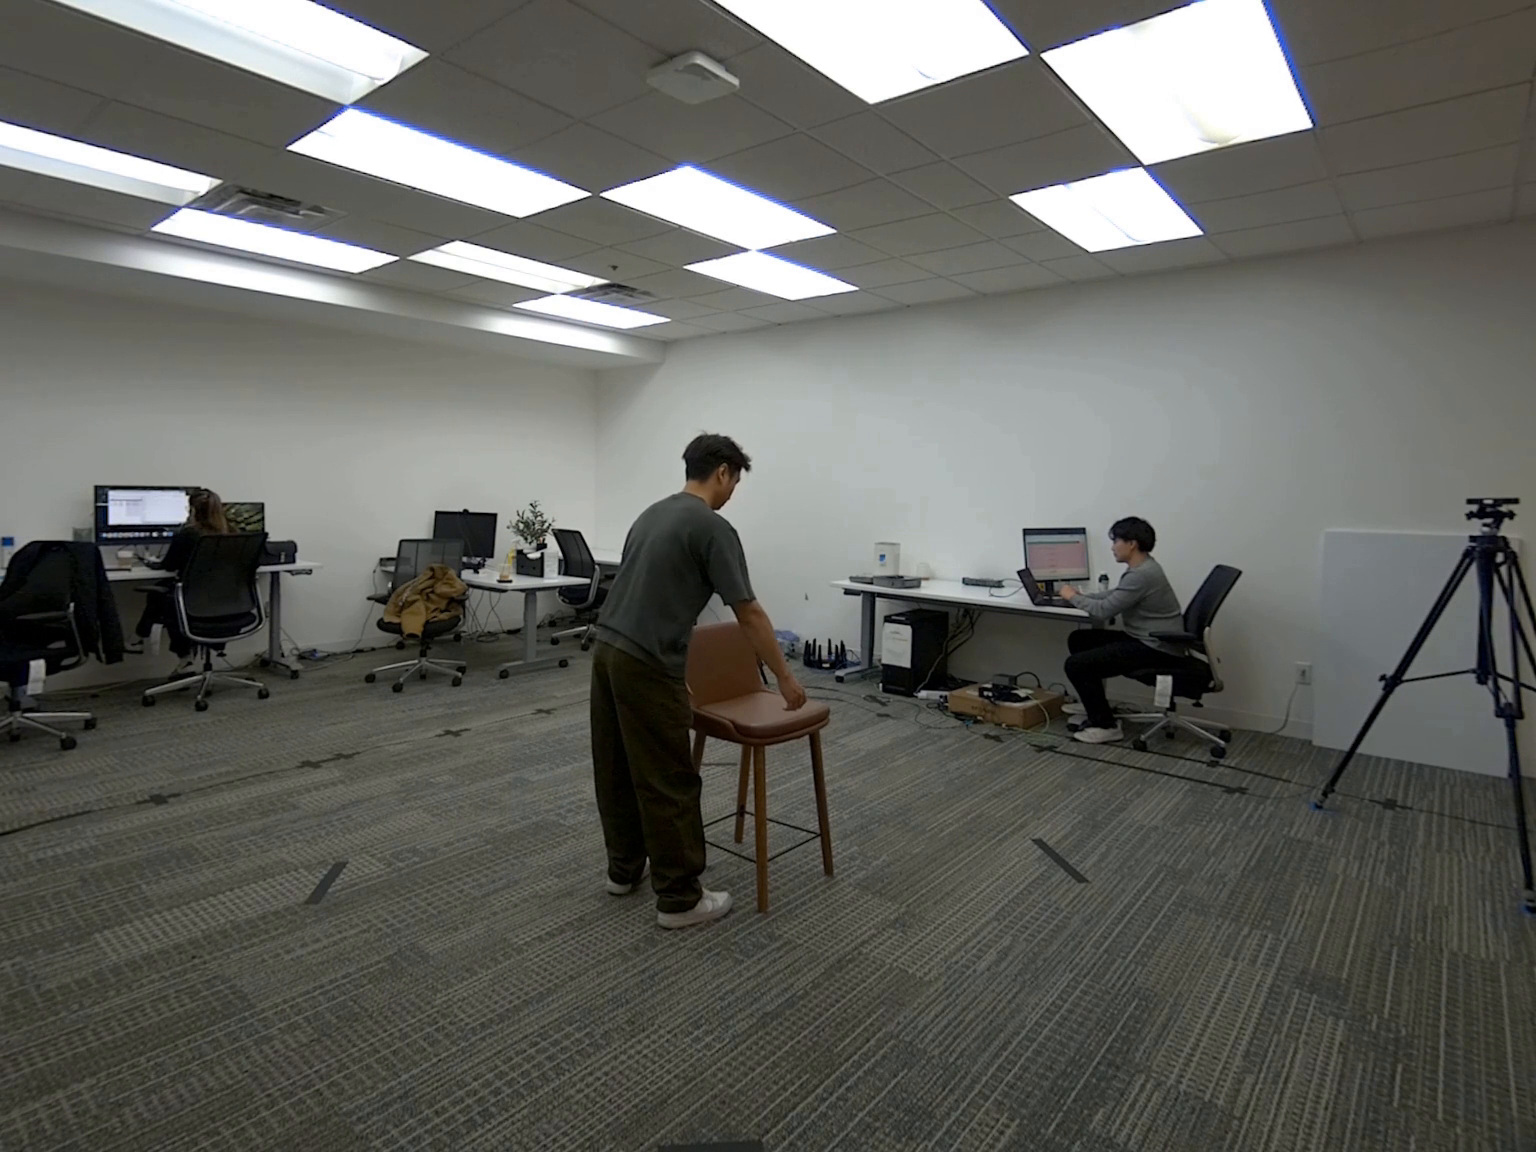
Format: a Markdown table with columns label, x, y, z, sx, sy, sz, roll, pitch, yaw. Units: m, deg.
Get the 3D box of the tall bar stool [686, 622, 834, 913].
| label | x | y | z | sx | sy | sz | roll | pitch | yaw |
| --- | --- | --- | --- | --- | --- | --- | --- | --- | --- |
| tall bar stool | -0.061 | 0.637 | 3.070 | 0.483 | 0.888 | 0.443 | 2 | 3 | 40 |
